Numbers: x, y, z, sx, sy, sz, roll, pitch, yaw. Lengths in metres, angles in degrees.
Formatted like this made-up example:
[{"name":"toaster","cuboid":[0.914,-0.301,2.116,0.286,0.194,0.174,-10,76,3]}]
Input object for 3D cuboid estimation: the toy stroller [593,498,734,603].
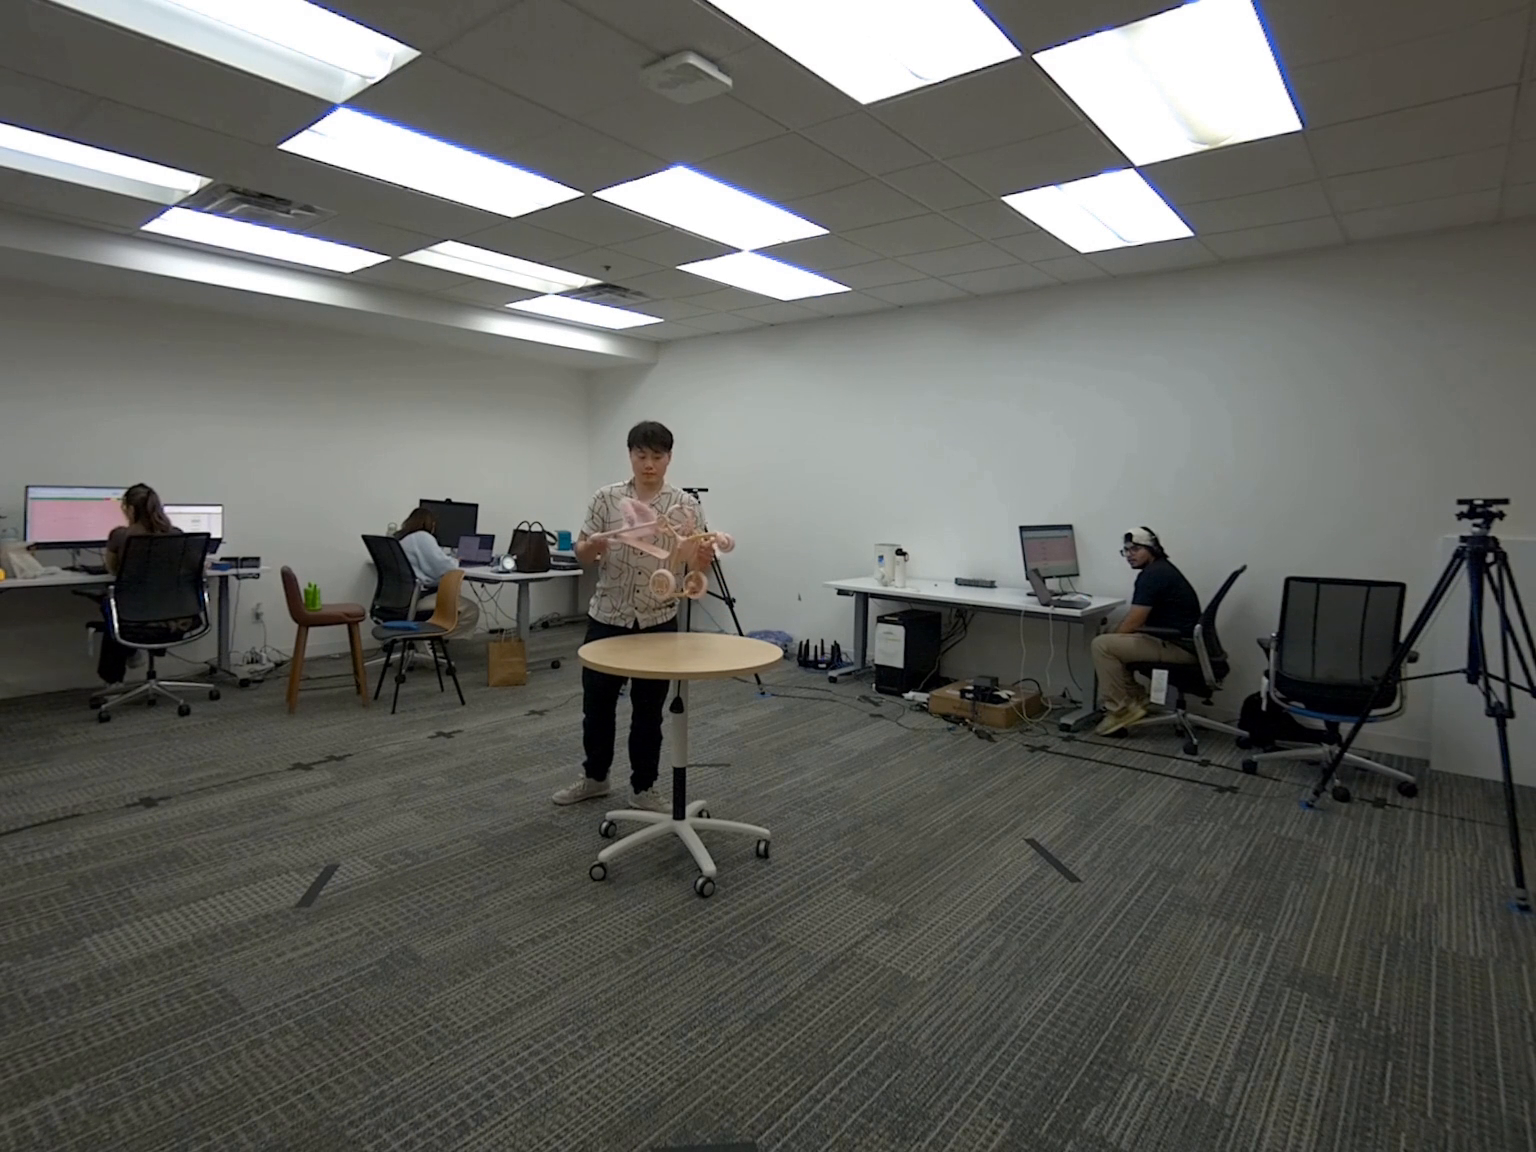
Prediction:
[{"name":"toy stroller","cuboid":[-0.414,-0.140,3.275,0.553,0.339,0.274,36,17,25]}]
